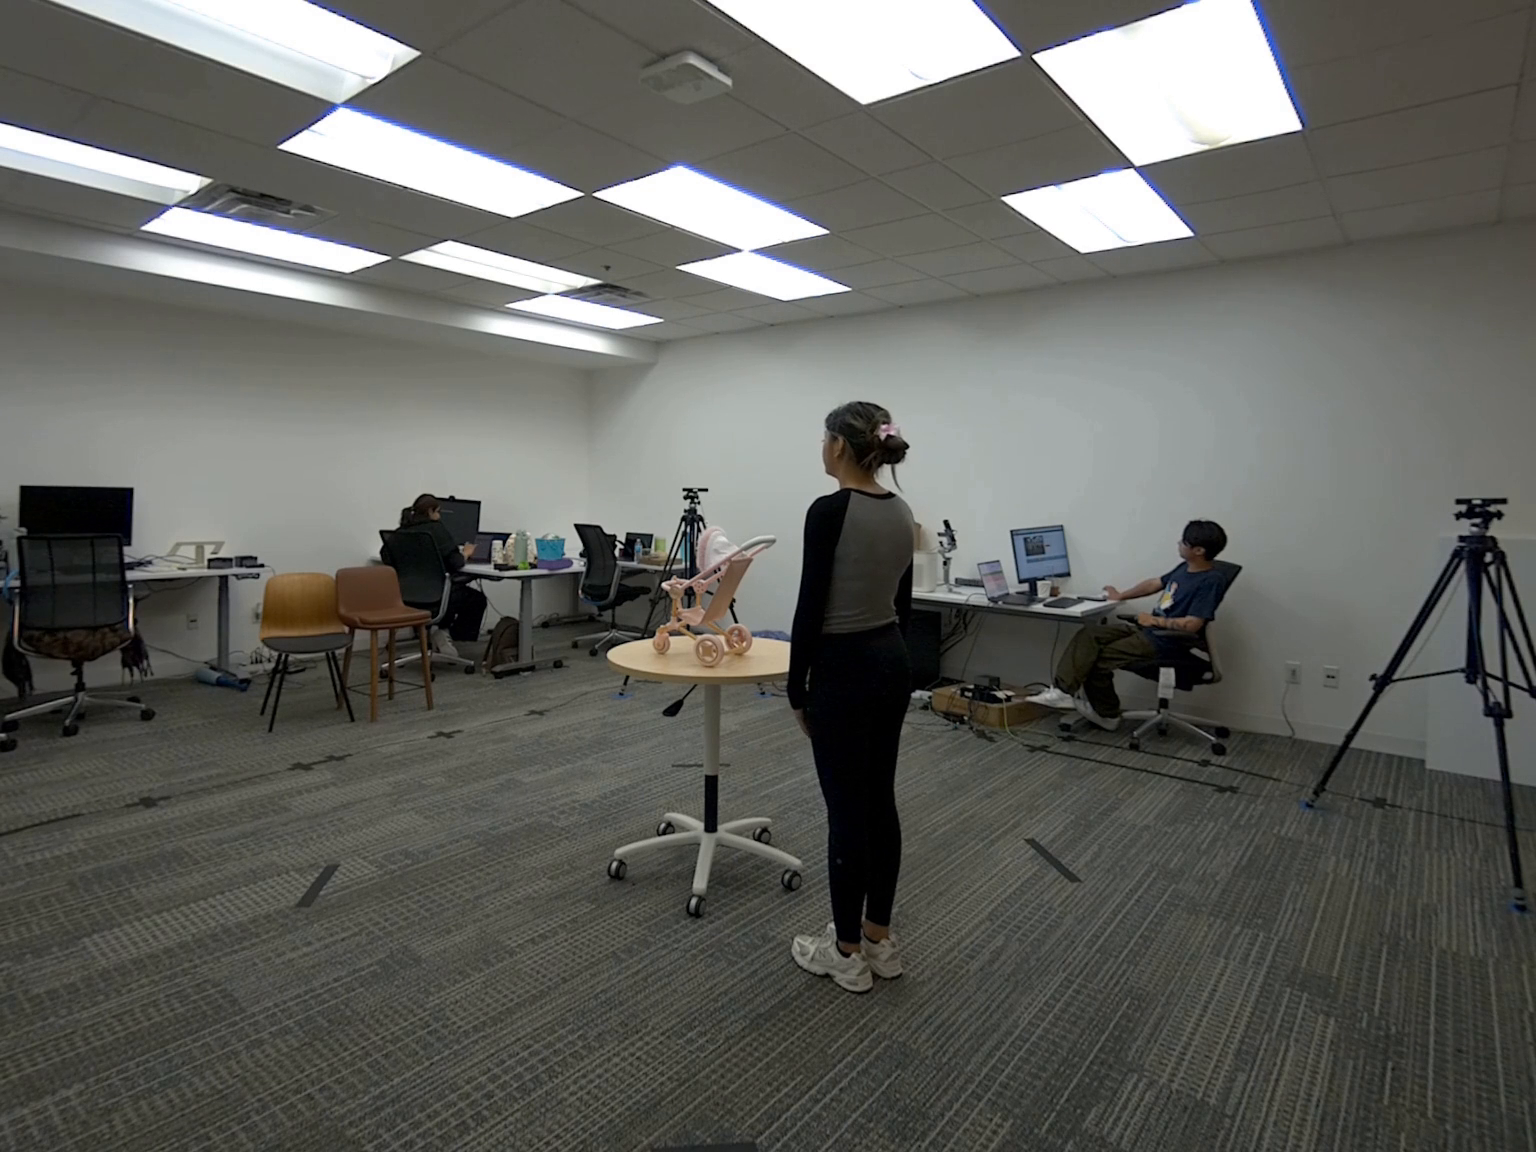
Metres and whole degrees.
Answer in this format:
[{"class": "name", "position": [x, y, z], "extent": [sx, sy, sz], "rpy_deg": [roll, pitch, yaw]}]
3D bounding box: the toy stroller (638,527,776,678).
[{"class": "toy stroller", "position": [-0.219, 0.064, 2.981], "extent": [0.352, 0.531, 0.274], "rpy_deg": [19, 11, 26]}]
